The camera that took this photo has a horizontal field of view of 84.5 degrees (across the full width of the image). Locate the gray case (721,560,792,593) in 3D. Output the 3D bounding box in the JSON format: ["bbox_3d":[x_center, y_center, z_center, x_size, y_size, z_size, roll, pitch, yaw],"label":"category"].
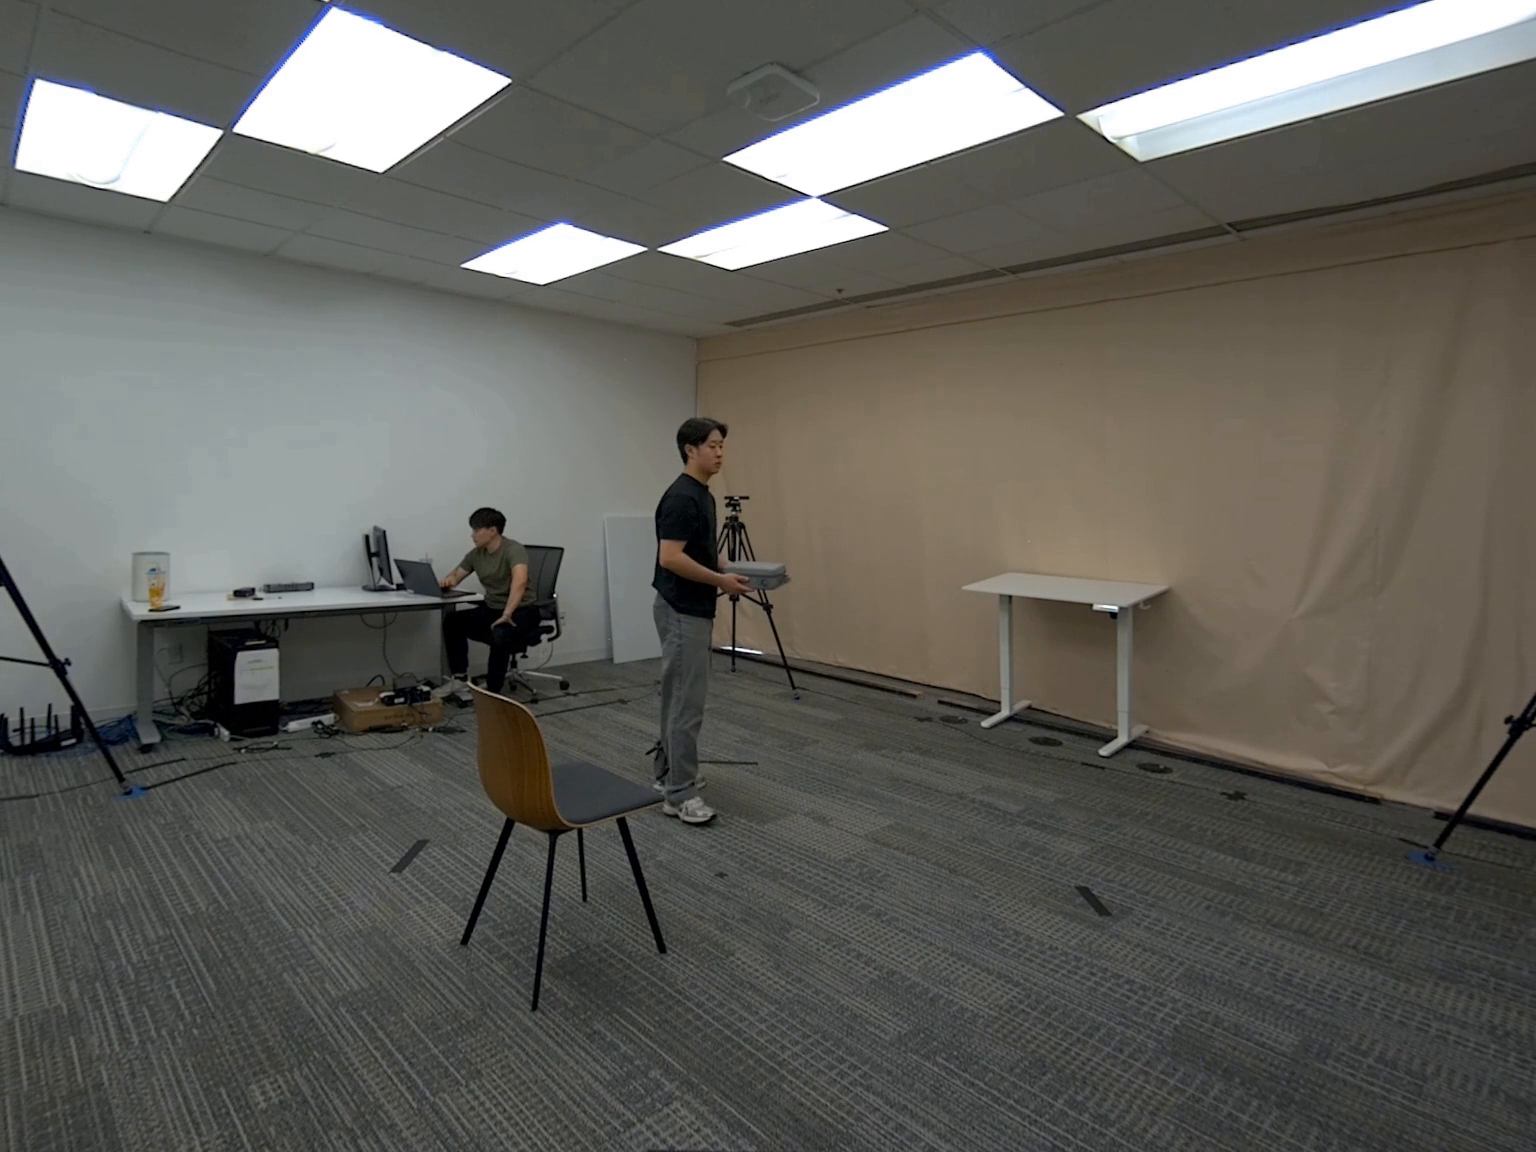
[{"bbox_3d":[-0.067,-0.004,3.823,0.291,0.103,0.261,4,6,15],"label":"gray case"}]
